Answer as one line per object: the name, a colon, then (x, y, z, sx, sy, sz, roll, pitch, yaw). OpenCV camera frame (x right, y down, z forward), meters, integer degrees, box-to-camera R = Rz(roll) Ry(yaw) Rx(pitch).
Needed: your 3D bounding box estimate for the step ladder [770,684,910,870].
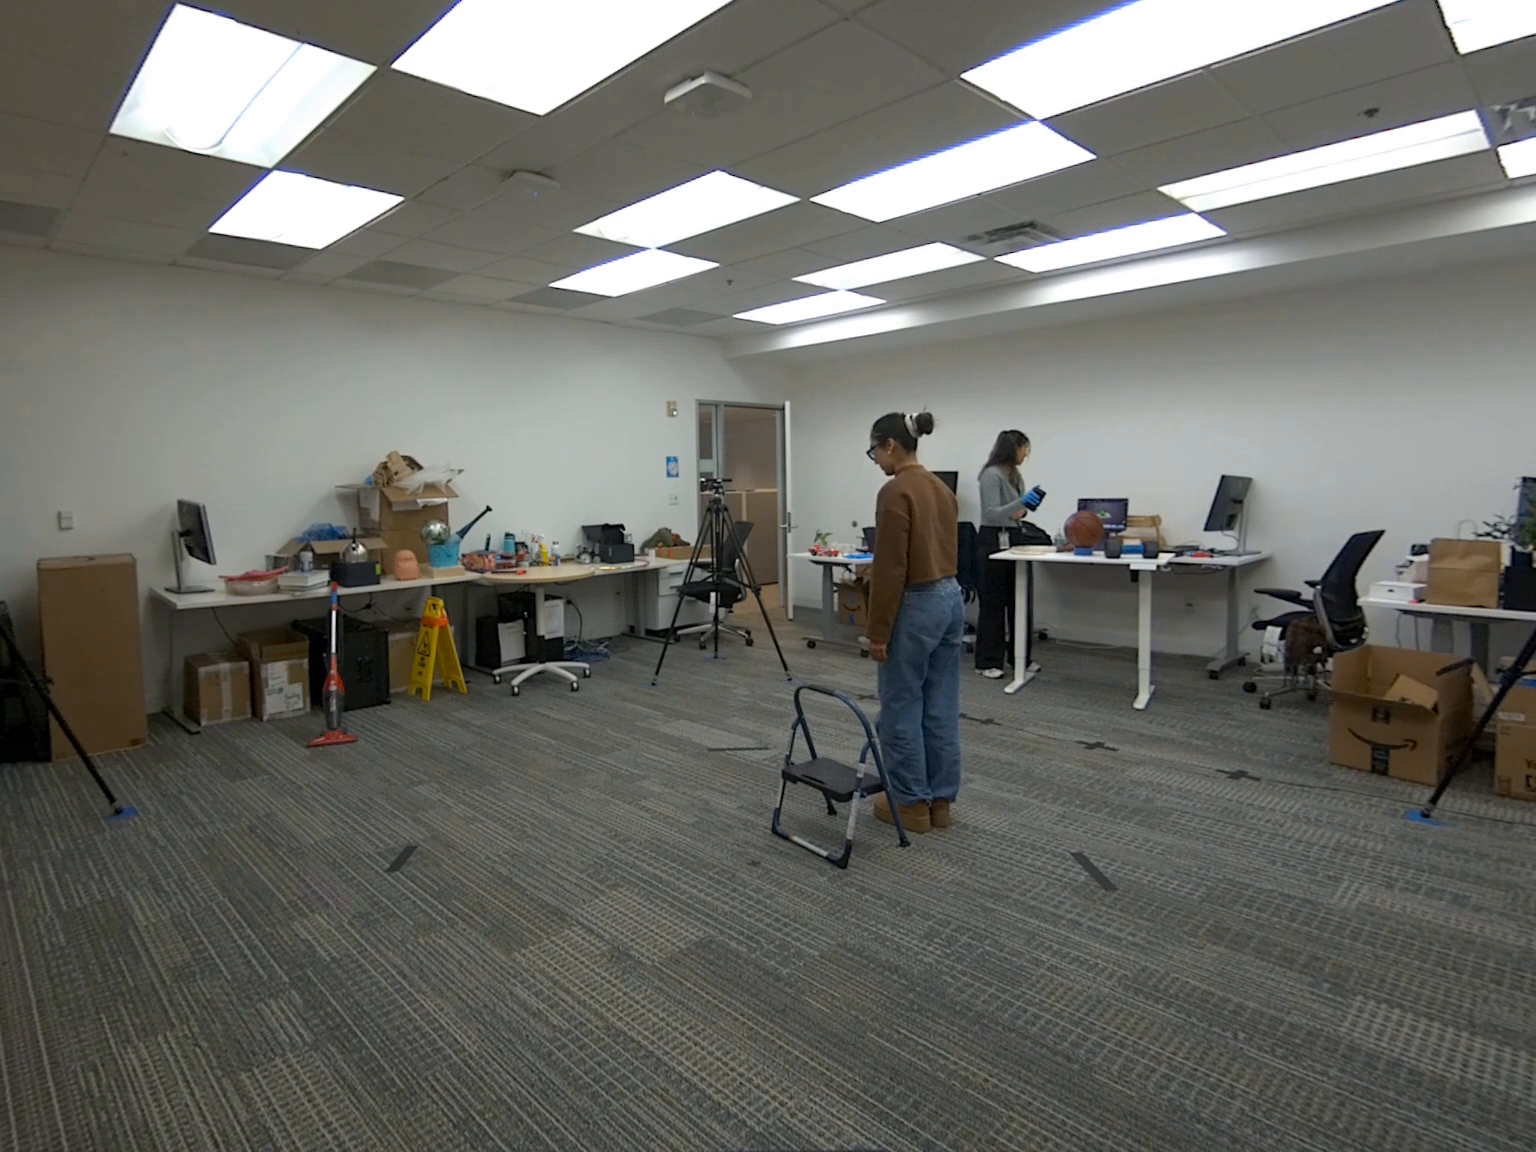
step ladder: (0.270, 0.715, 3.288, 0.340, 0.604, 0.444, -4, 6, -38)
